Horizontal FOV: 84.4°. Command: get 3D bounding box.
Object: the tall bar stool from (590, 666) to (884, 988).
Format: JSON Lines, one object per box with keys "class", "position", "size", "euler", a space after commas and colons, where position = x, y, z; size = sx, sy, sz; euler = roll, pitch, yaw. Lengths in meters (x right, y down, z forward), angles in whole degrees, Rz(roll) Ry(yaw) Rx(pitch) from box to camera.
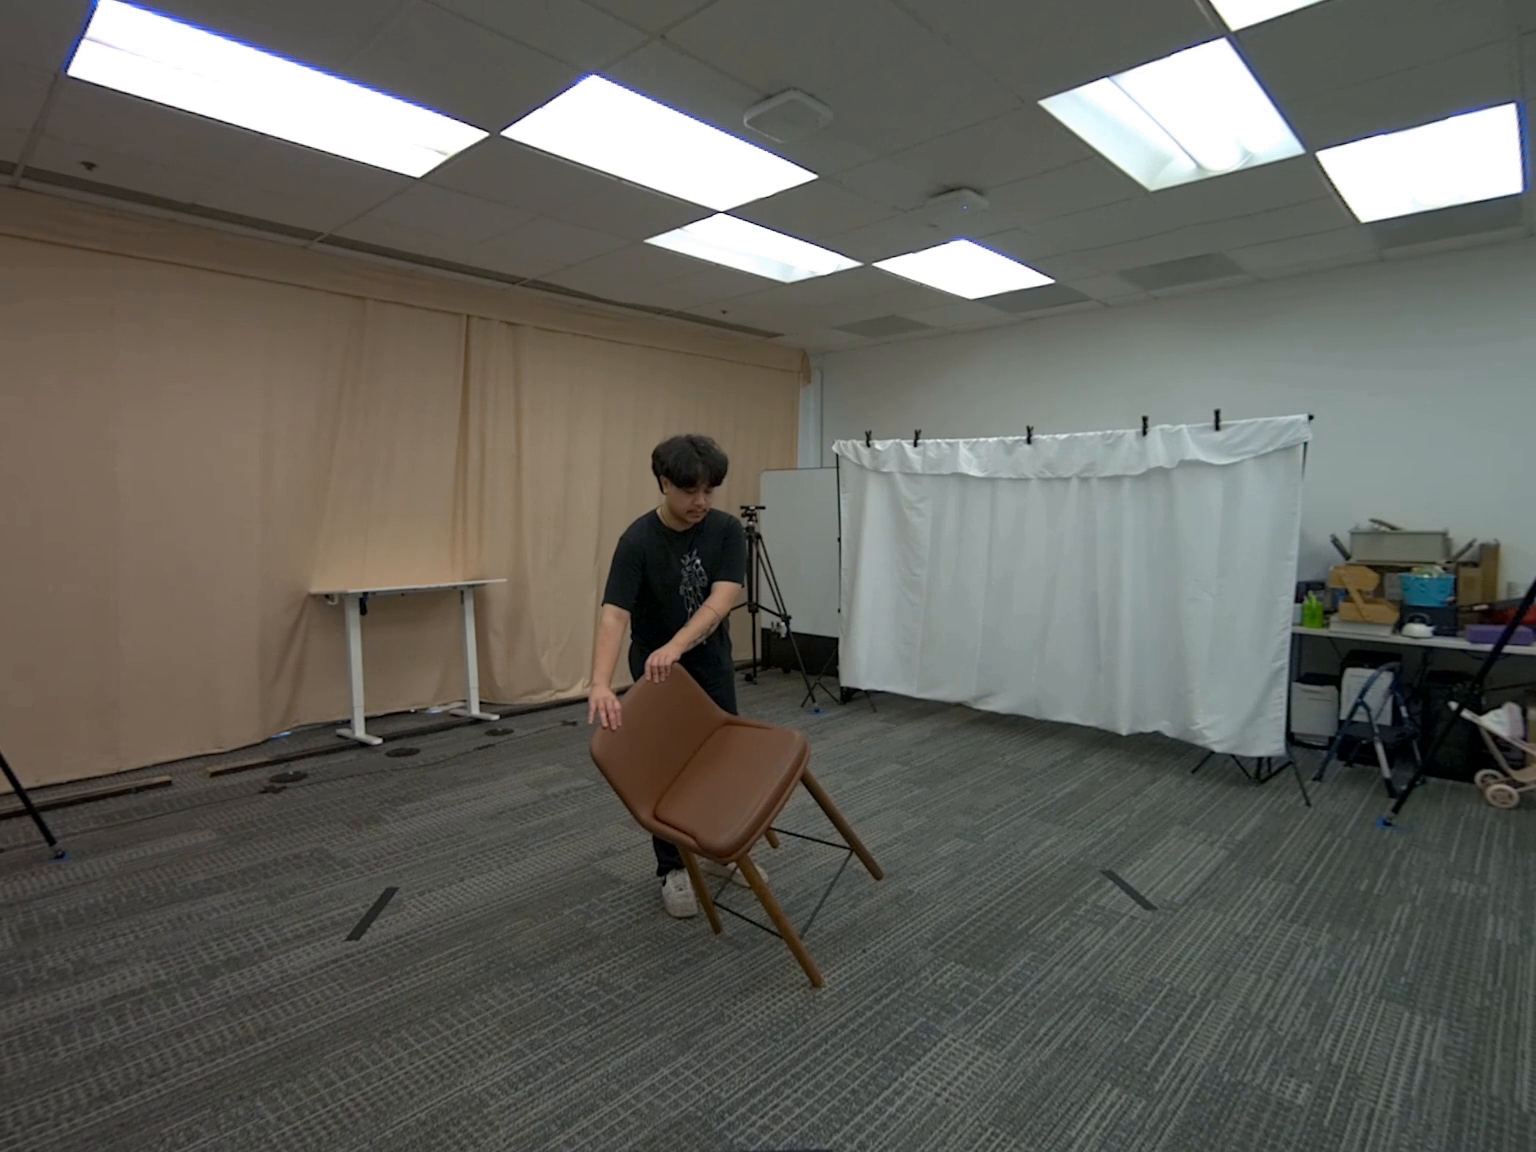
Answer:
{"class": "tall bar stool", "position": [-0.080, 0.716, 2.518], "size": [0.482, 0.869, 0.452], "euler": [-1, 35, 45]}
